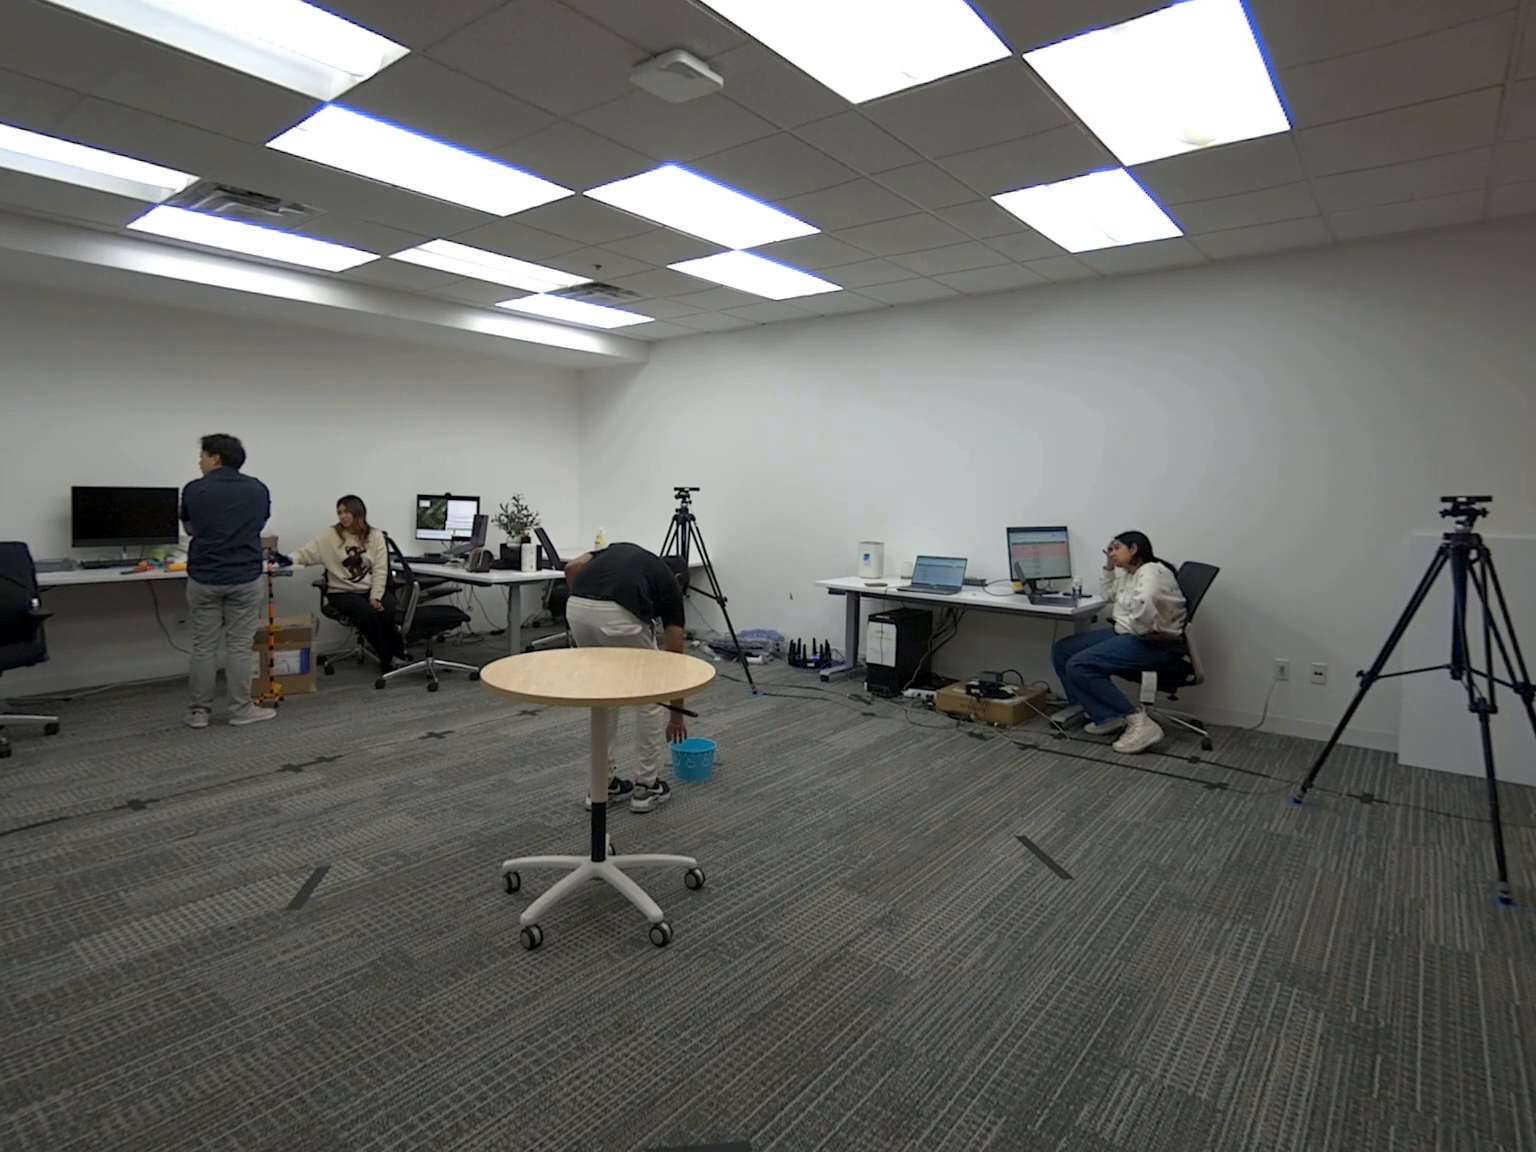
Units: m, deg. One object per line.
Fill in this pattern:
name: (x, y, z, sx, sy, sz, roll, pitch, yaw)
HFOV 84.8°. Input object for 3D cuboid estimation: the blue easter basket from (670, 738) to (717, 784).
blue easter basket: (-0.371, 0.887, 4.127, 0.243, 0.155, 0.245, 0, 6, -2)
